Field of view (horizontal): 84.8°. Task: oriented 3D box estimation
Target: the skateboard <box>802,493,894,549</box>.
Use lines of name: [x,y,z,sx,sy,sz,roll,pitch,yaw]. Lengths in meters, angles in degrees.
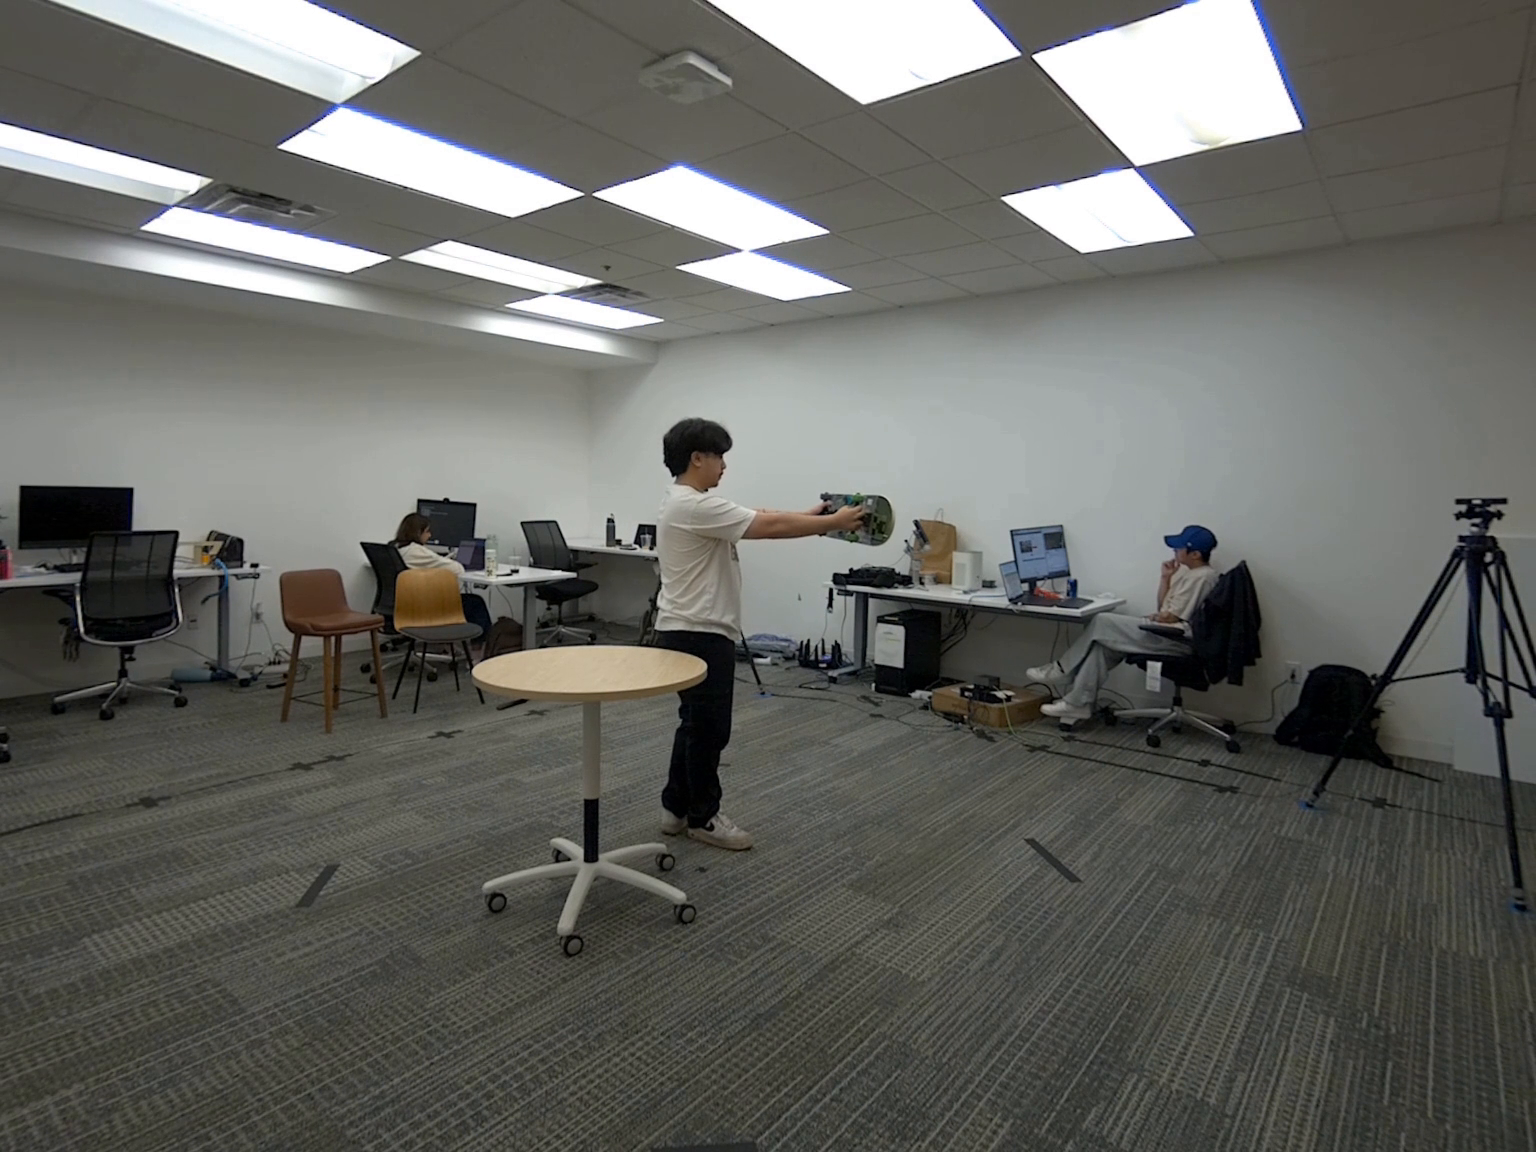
skateboard: [0.302,-0.239,3.450,0.109,0.193,0.798,5,4,-14]
